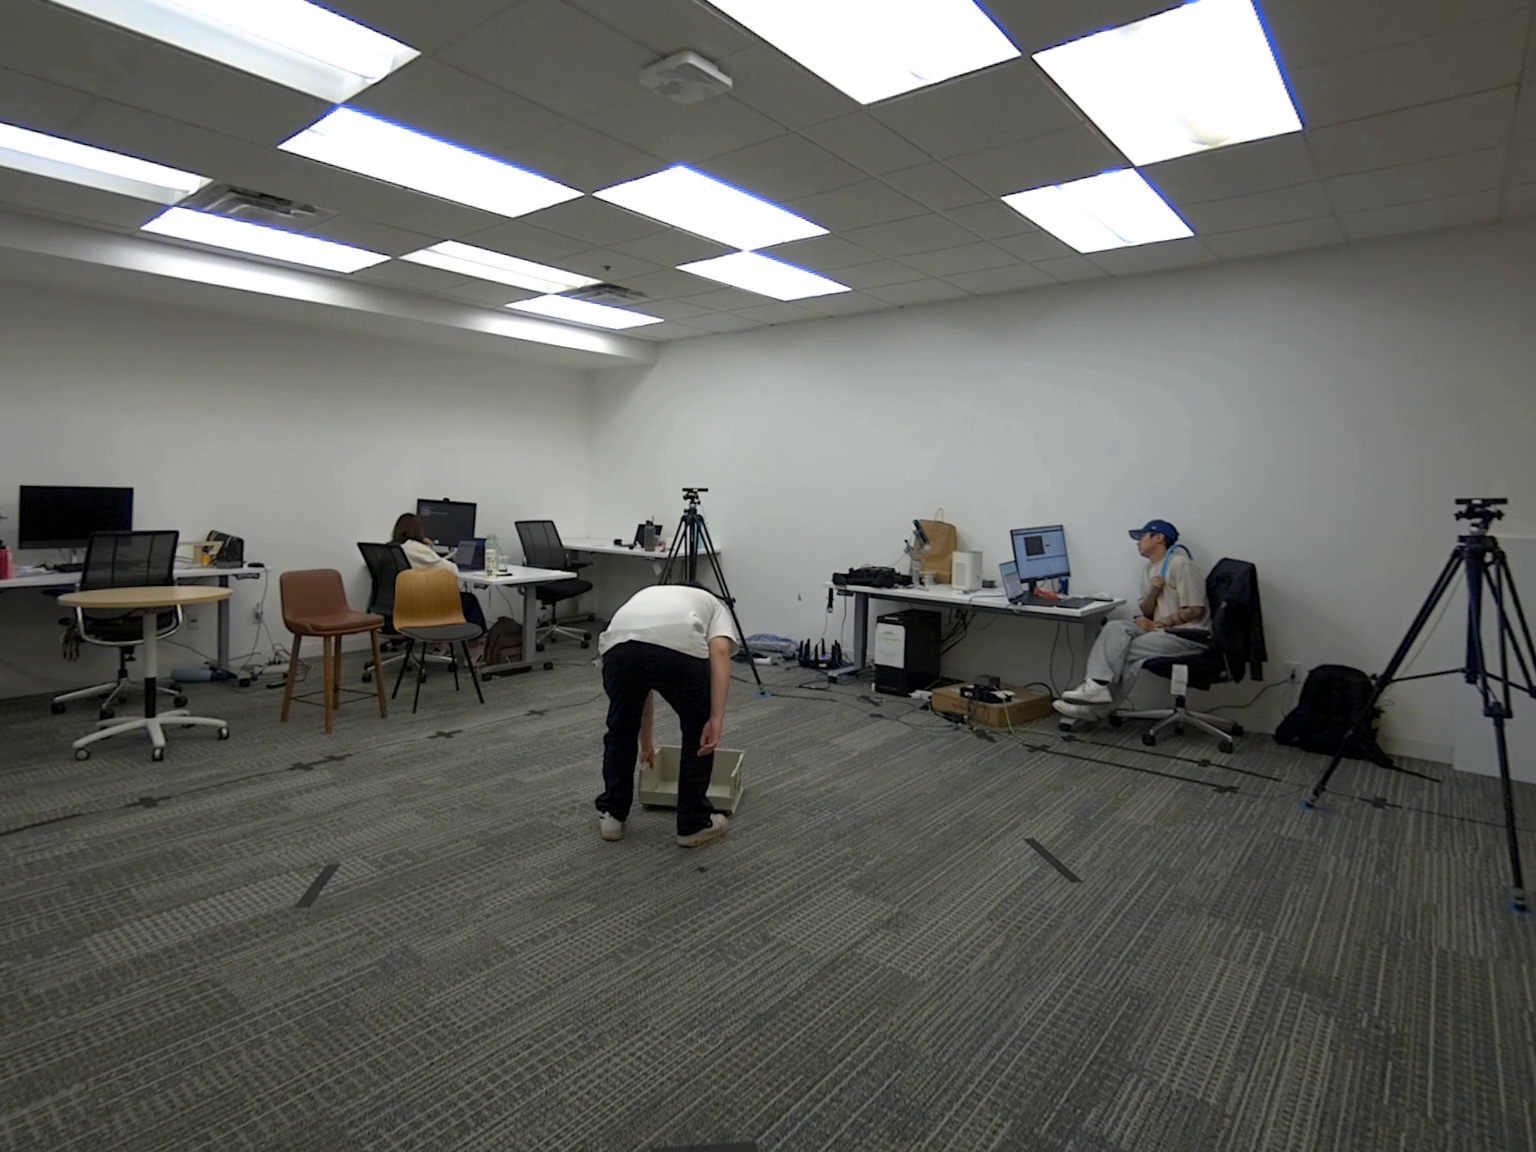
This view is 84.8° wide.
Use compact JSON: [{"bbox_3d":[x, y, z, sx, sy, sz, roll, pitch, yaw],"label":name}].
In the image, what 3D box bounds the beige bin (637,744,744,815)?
[{"bbox_3d":[-0.343,0.909,3.806,0.426,0.188,0.375,1,4,8],"label":"beige bin"}]
